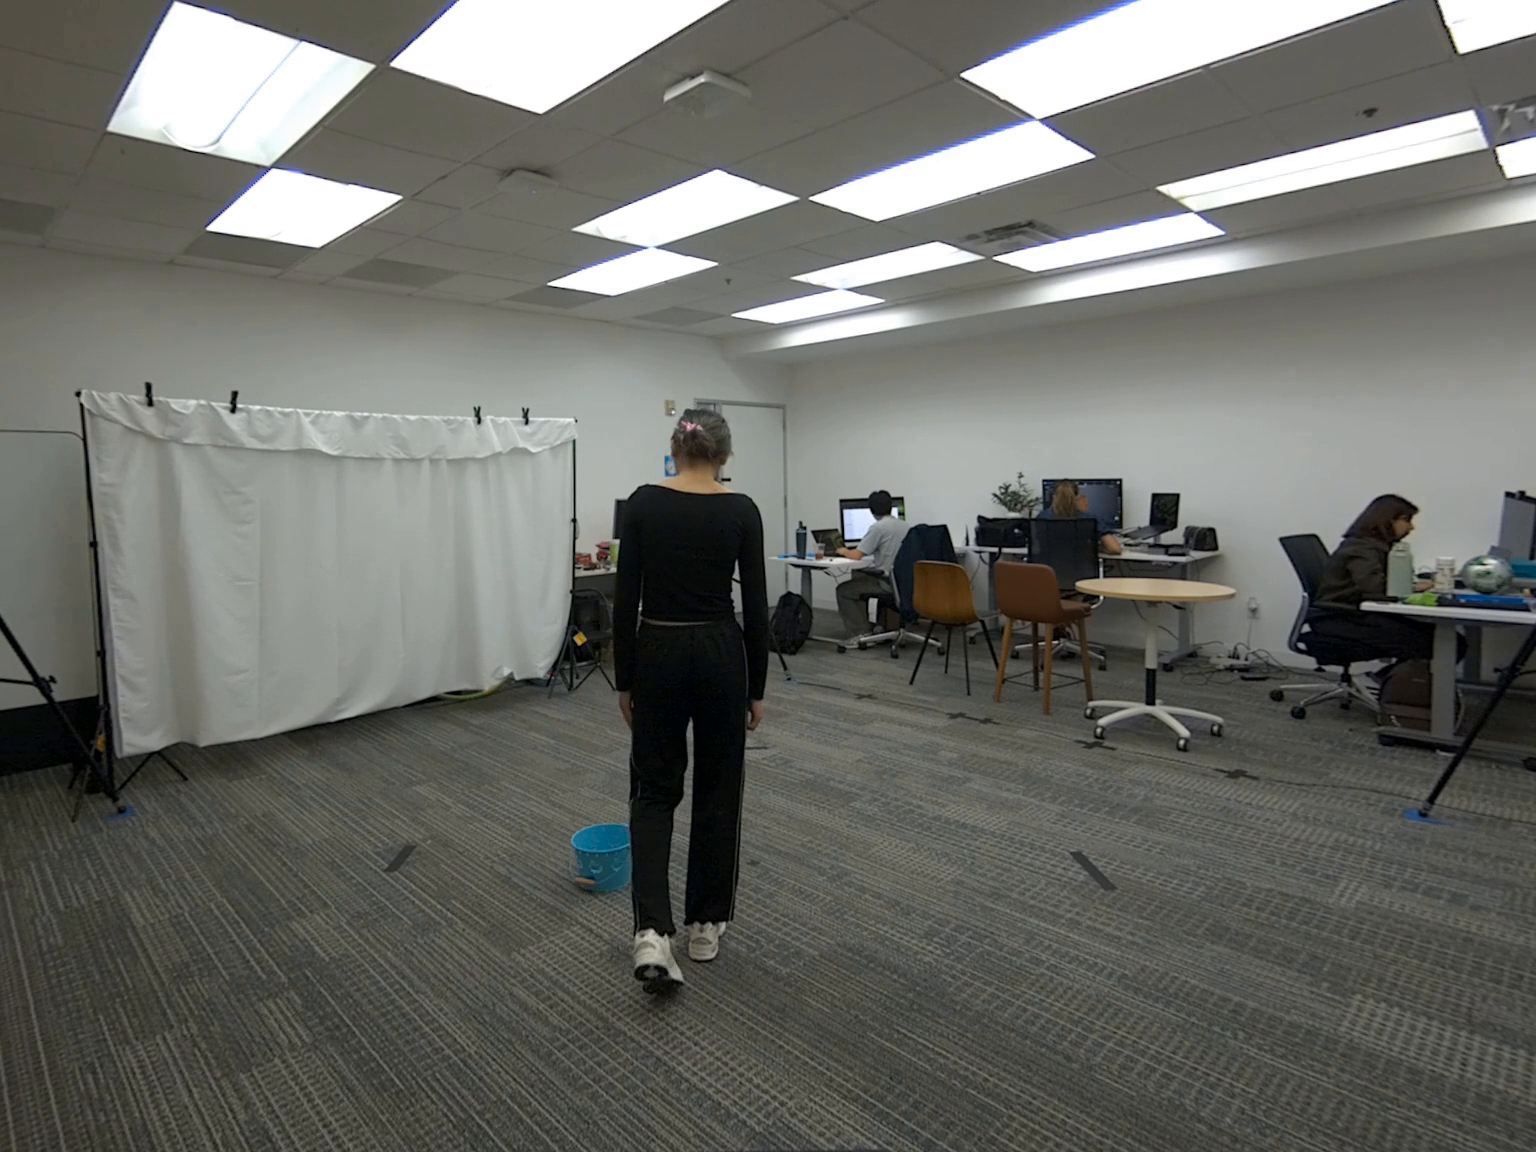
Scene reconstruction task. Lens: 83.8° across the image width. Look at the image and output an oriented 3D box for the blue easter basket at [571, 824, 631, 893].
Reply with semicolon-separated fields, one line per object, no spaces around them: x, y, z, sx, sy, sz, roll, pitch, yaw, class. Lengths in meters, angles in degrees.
-0.572;0.987;2.994;0.243;0.155;0.245;-1;6;-2;blue easter basket
